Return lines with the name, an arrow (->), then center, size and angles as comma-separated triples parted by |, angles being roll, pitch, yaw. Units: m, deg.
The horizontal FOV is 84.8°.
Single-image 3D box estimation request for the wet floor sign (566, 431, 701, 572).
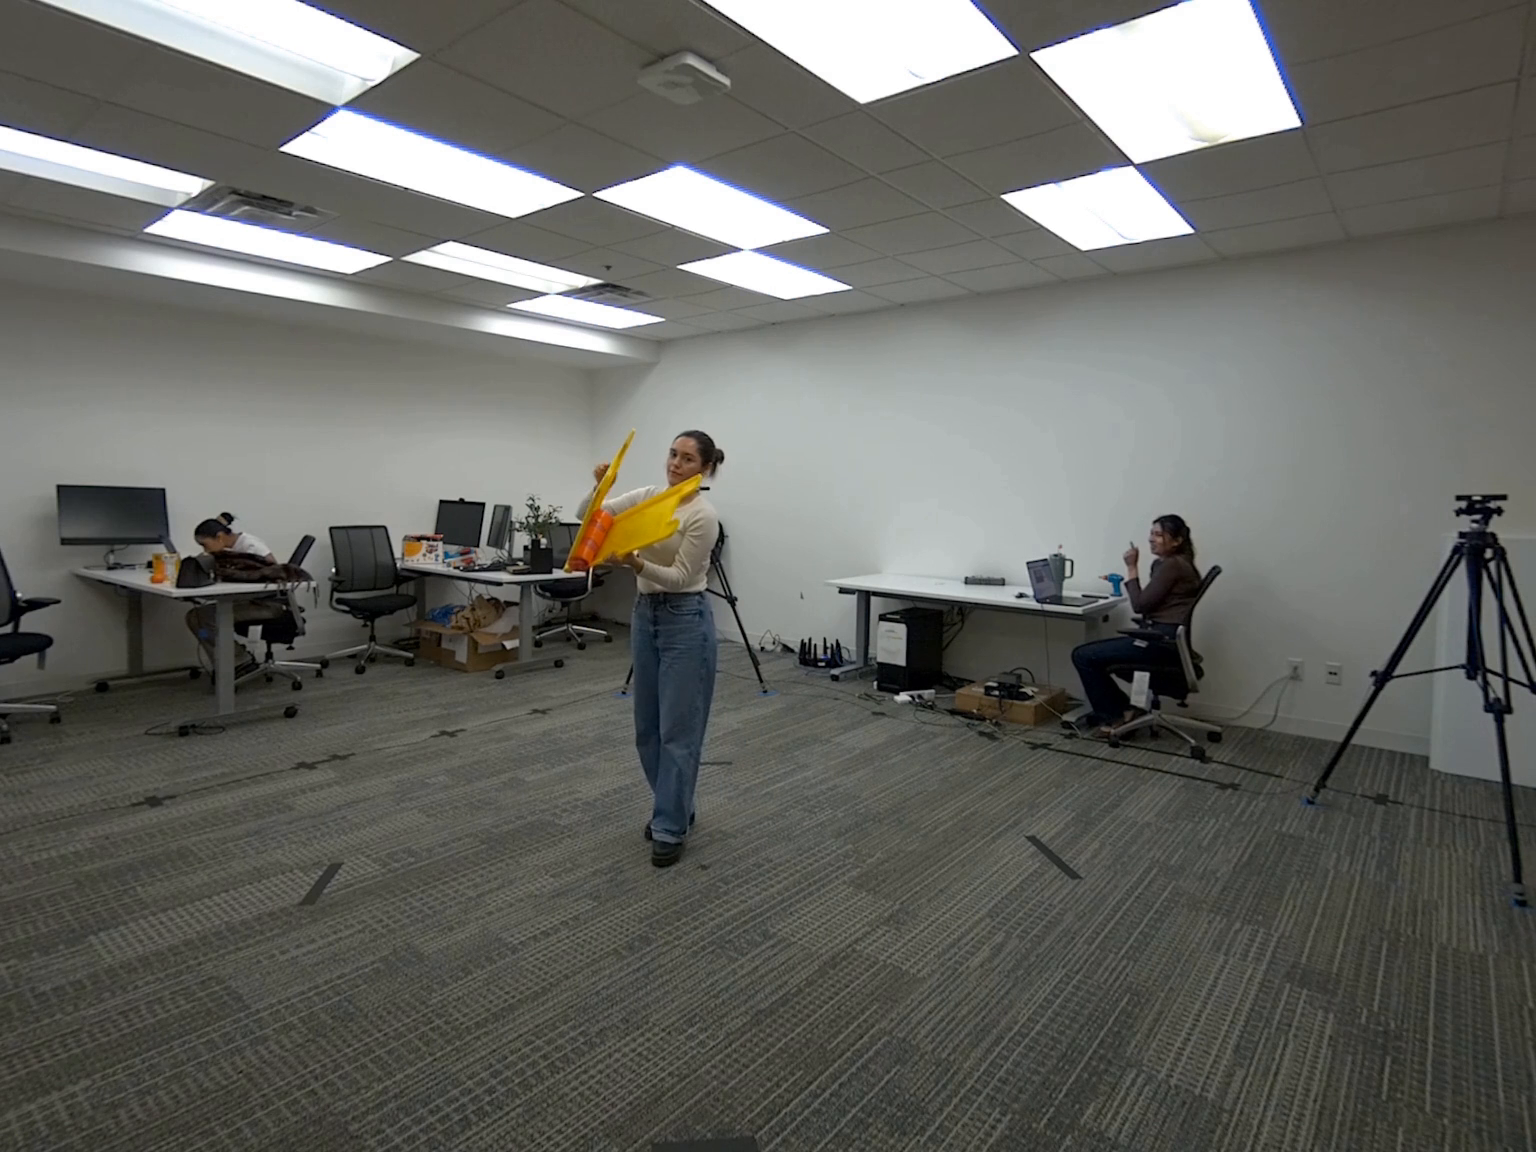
wet floor sign -> -0.554, -0.191, 2.975 | 0.283, 0.286, 0.652 | 35, -37, -18
